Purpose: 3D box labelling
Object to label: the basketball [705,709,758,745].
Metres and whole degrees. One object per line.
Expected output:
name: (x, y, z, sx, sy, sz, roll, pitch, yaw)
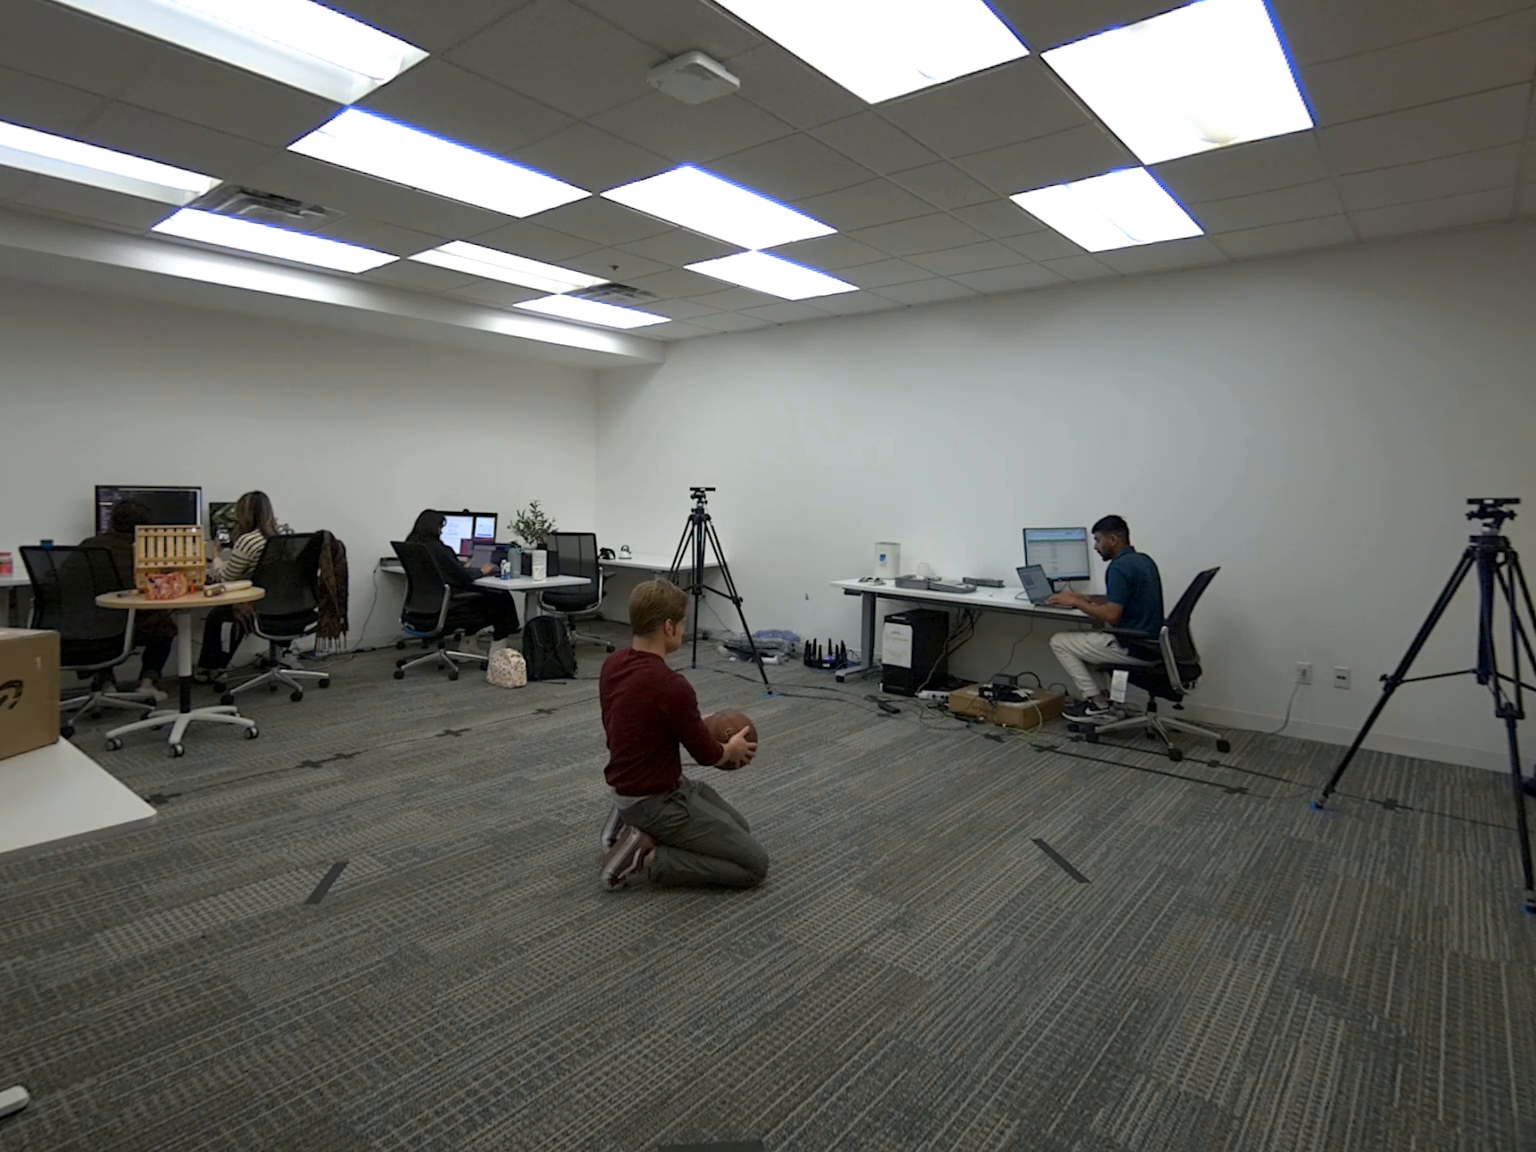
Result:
basketball: (-0.172, 0.663, 3.425, 0.235, 0.235, 0.237, 1, 4, -2)
